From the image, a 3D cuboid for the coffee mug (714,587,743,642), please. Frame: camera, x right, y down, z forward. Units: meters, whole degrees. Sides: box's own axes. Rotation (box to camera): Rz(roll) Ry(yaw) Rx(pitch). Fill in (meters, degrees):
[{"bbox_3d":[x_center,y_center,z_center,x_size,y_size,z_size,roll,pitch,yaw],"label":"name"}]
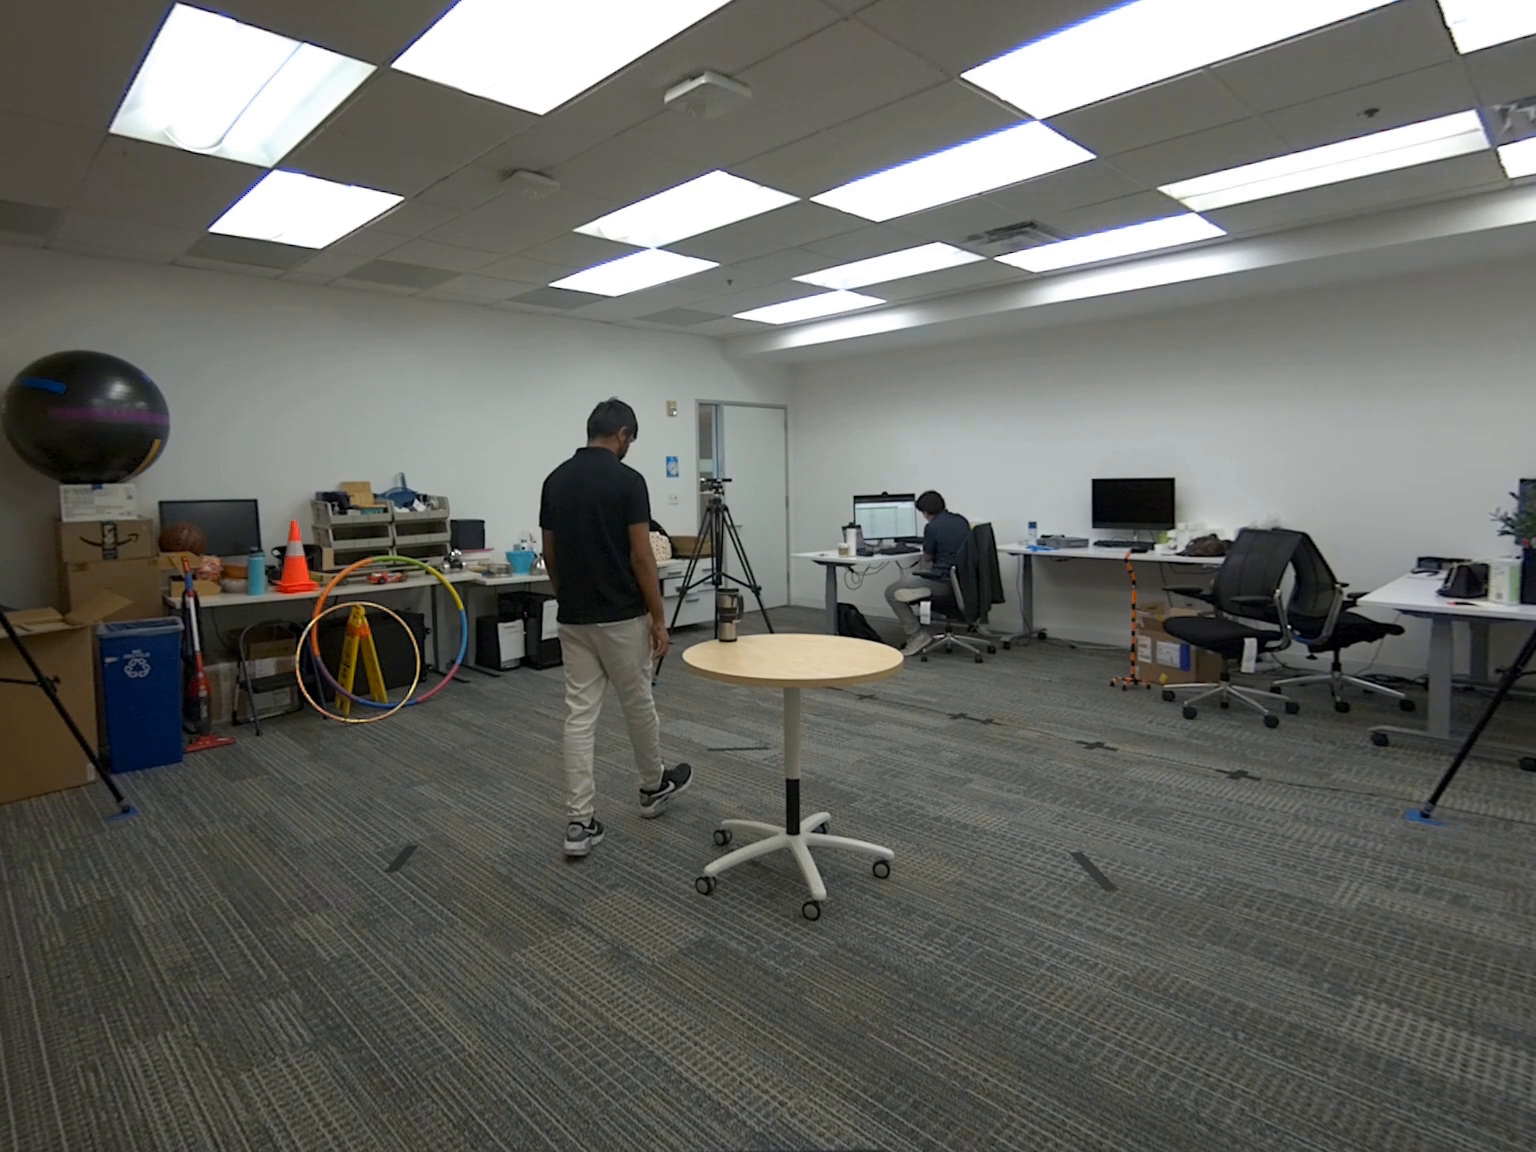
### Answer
[{"bbox_3d":[-0.166,0.146,3.213,0.091,0.202,0.118,11,10,44],"label":"coffee mug"}]
